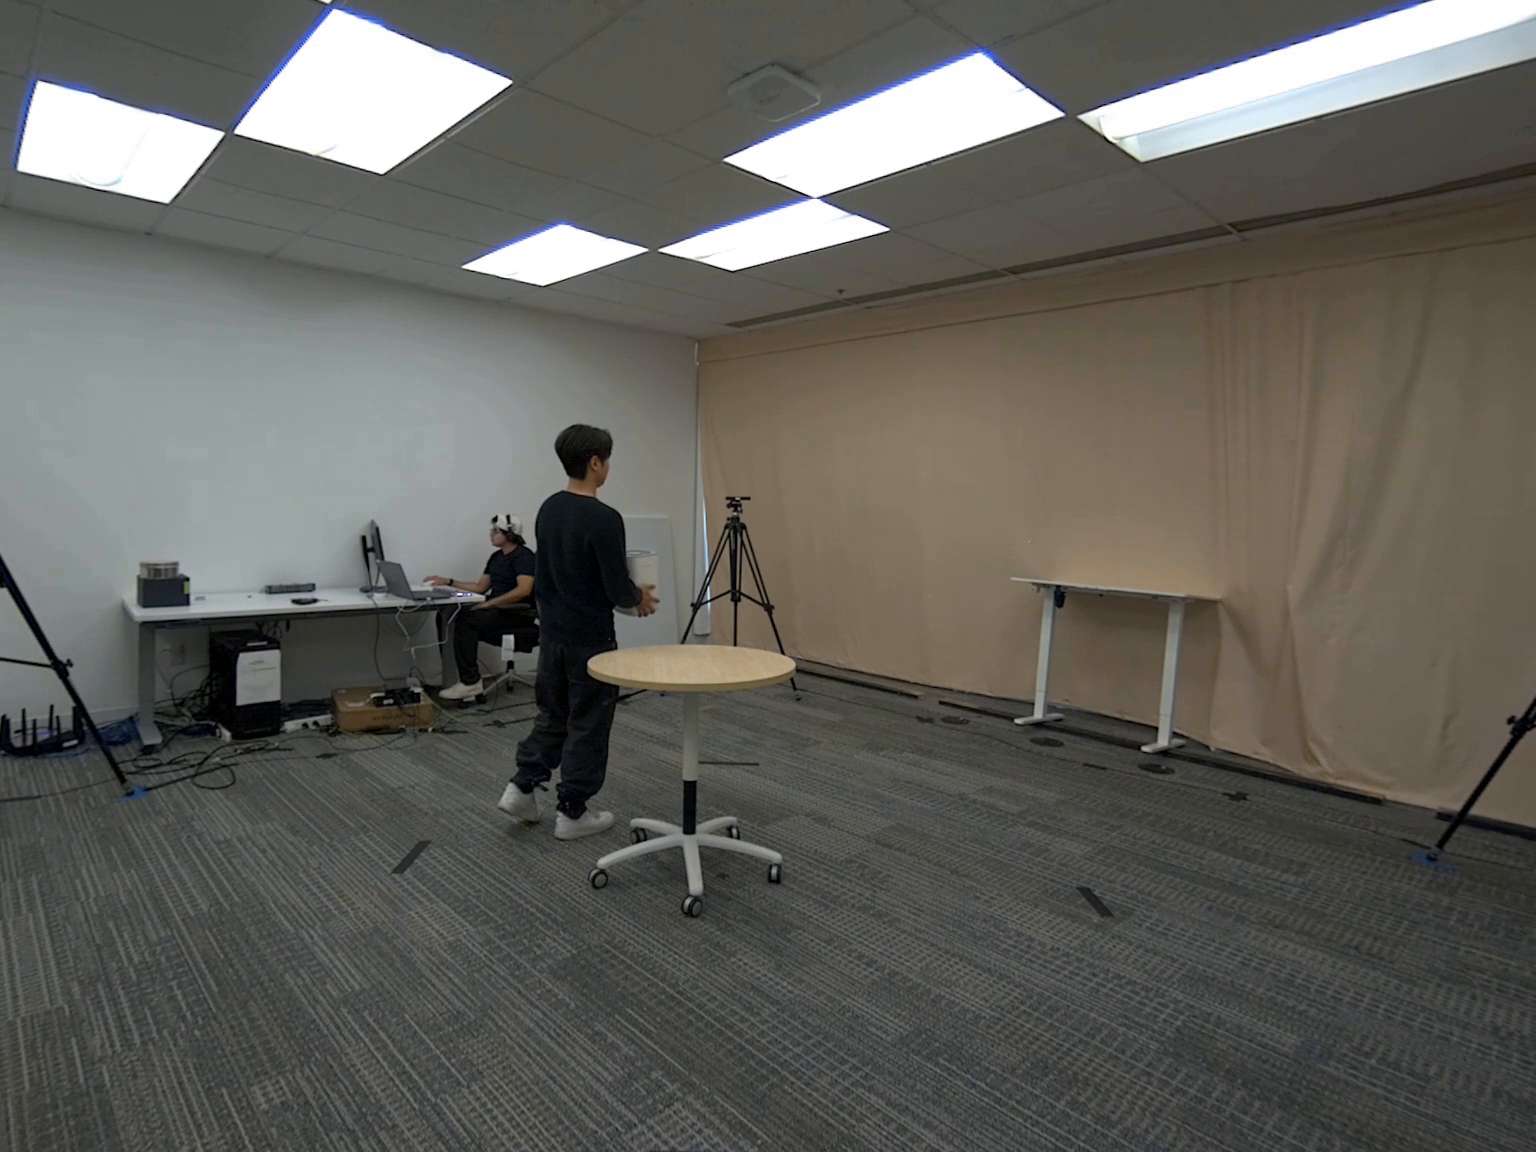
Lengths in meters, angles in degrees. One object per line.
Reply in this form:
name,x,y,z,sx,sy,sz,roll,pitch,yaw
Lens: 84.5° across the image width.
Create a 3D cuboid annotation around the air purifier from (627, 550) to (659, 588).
air purifier,-0.595,0.028,3.653,0.176,0.263,0.168,9,14,40
